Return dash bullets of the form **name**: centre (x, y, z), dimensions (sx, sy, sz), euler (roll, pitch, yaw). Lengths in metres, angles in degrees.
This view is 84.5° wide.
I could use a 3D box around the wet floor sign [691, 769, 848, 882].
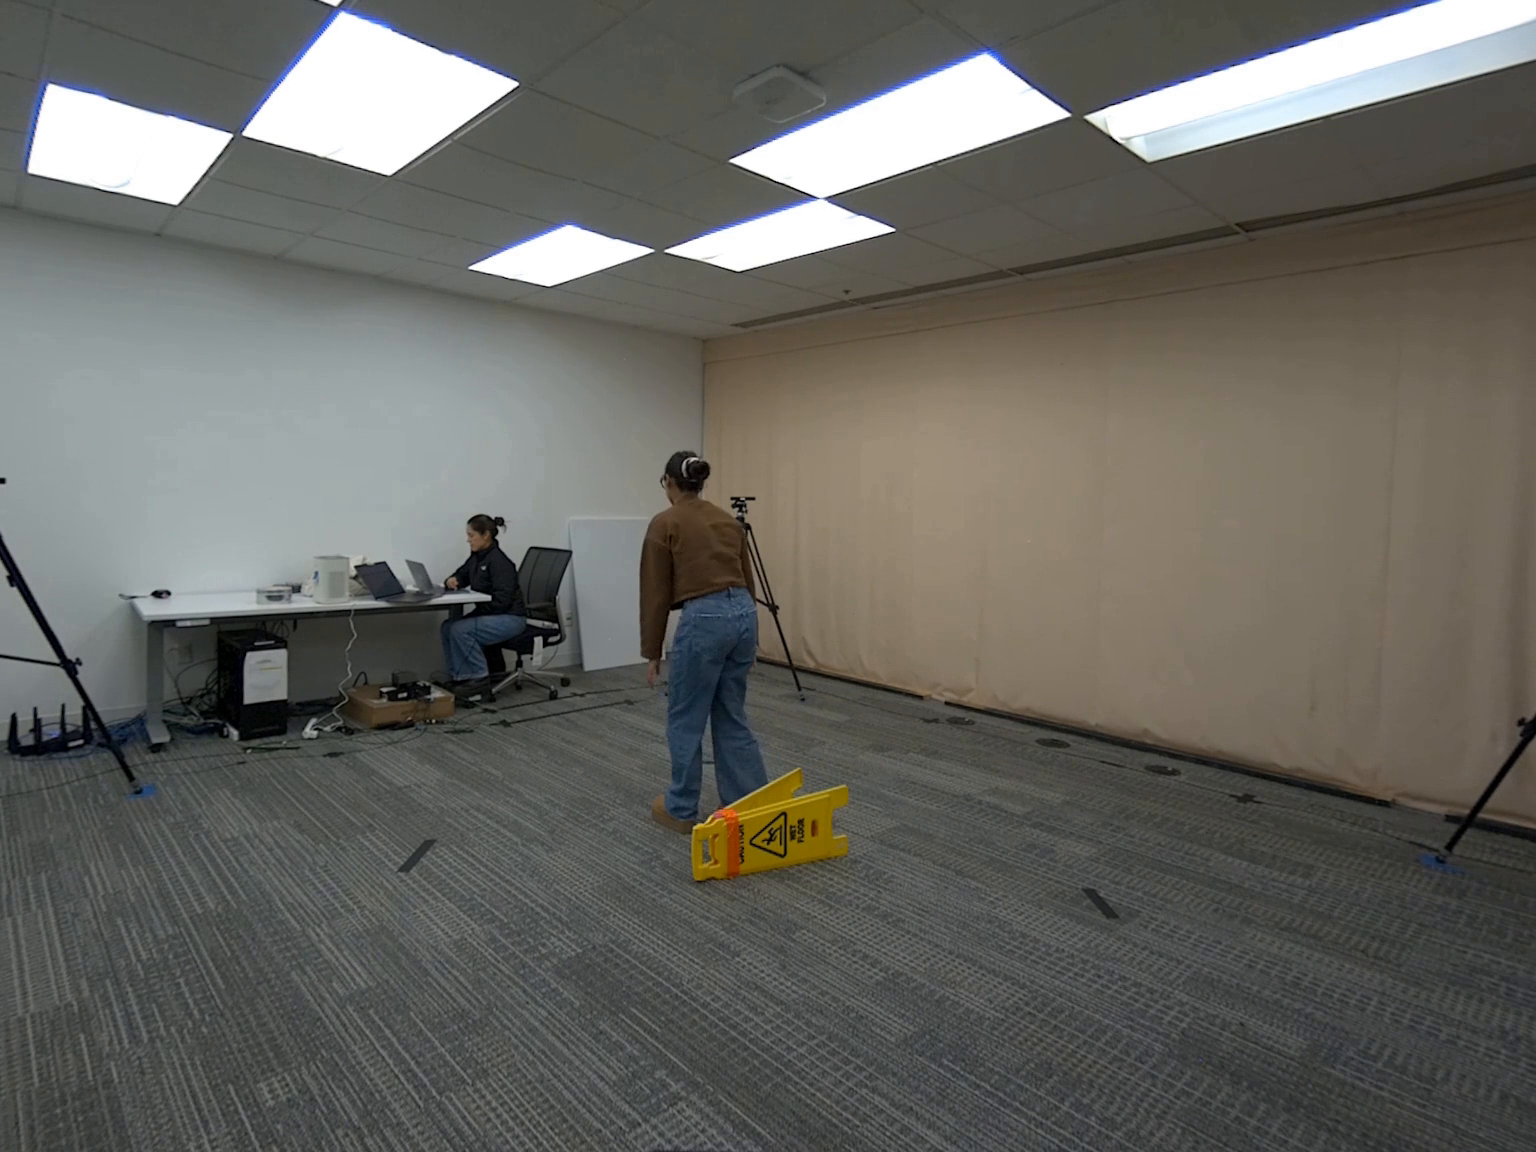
- **wet floor sign**: centre (-0.023, 0.974, 3.220), dimensions (0.632, 0.281, 0.297), euler (-5, 7, -38)
